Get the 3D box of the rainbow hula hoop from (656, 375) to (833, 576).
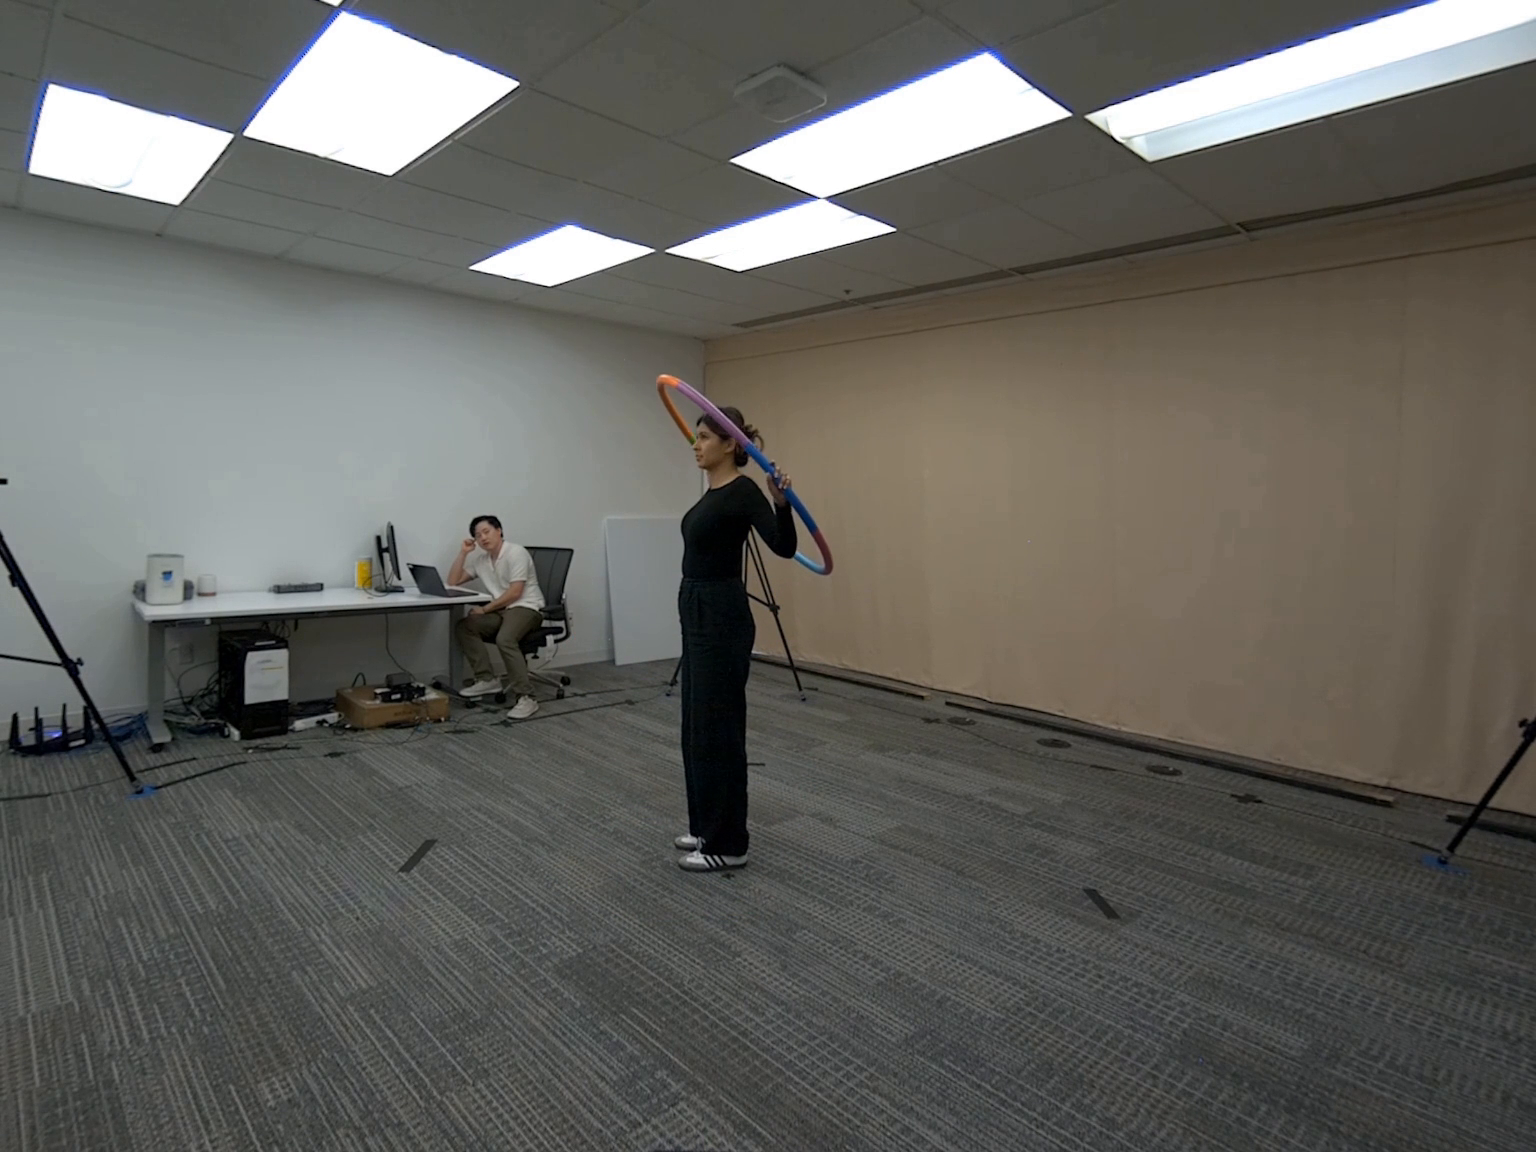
[{"bbox_3d":[-0.099,-0.375,3.206,0.035,0.968,0.990,-42,11,-6],"label":"rainbow hula hoop"}]
